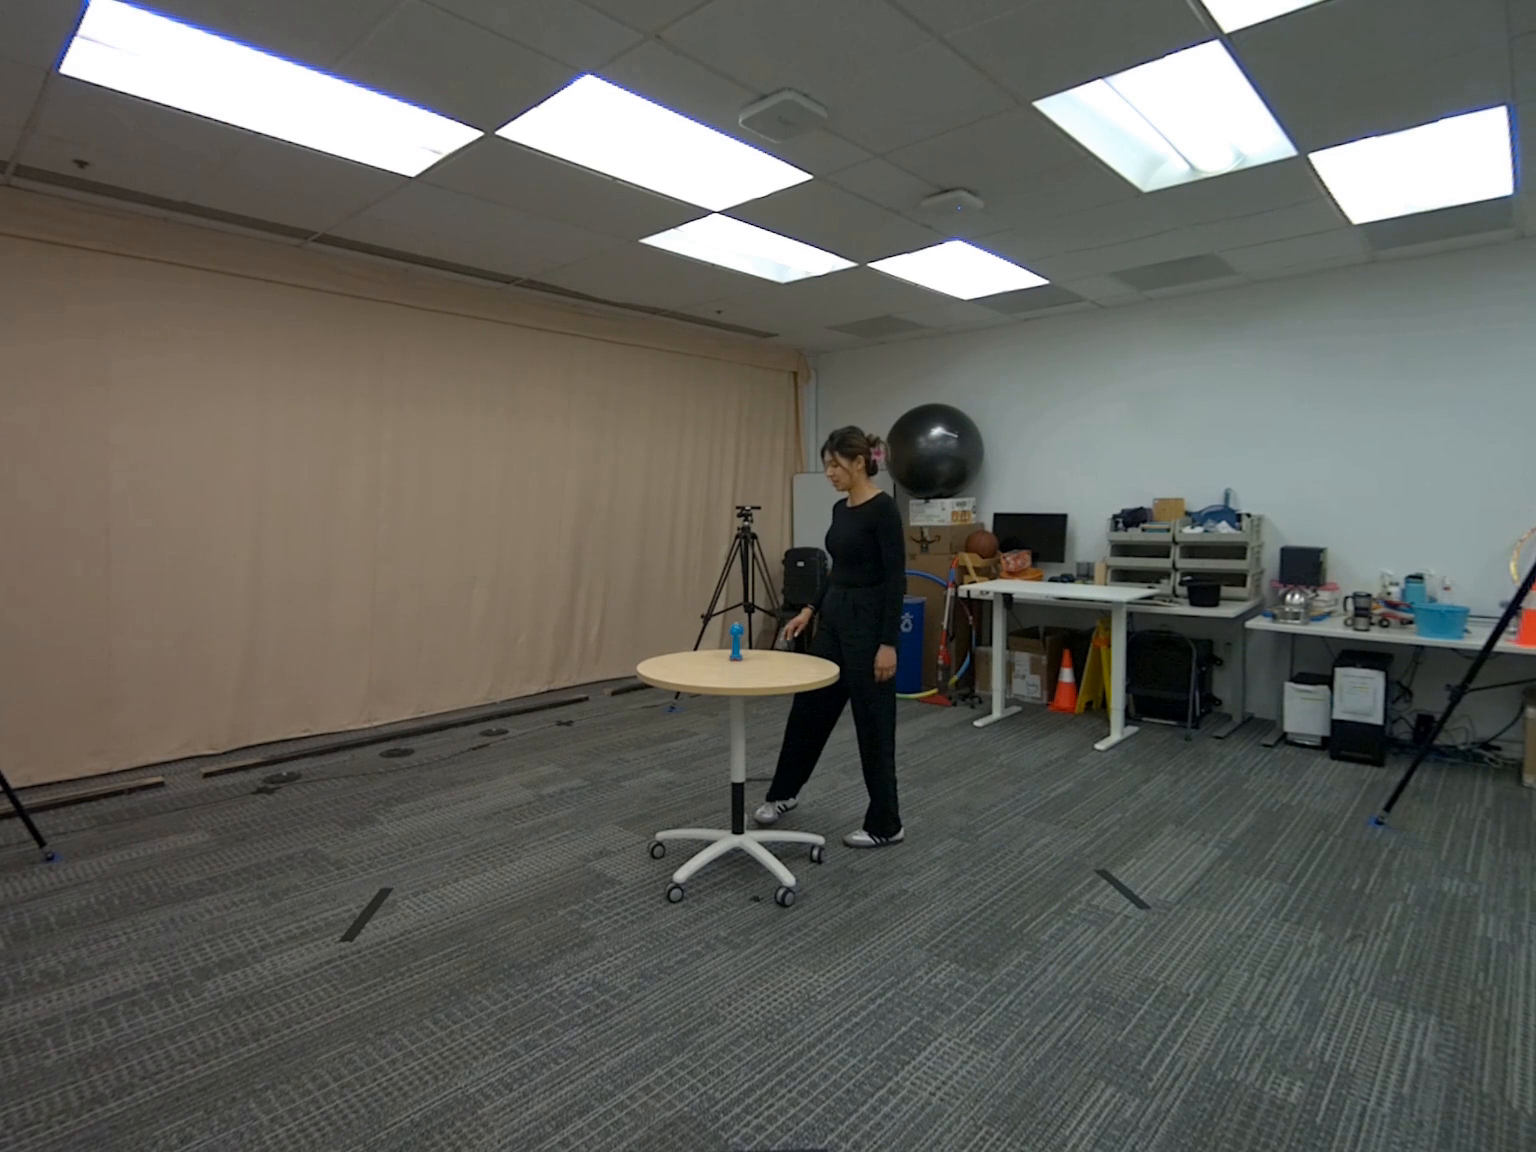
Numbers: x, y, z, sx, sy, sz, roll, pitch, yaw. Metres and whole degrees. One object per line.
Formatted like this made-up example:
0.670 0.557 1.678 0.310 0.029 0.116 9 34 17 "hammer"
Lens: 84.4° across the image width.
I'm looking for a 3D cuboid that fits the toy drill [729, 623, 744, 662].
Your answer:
-0.124 0.256 3.381 0.061 0.145 0.170 2 6 -1 "toy drill"
